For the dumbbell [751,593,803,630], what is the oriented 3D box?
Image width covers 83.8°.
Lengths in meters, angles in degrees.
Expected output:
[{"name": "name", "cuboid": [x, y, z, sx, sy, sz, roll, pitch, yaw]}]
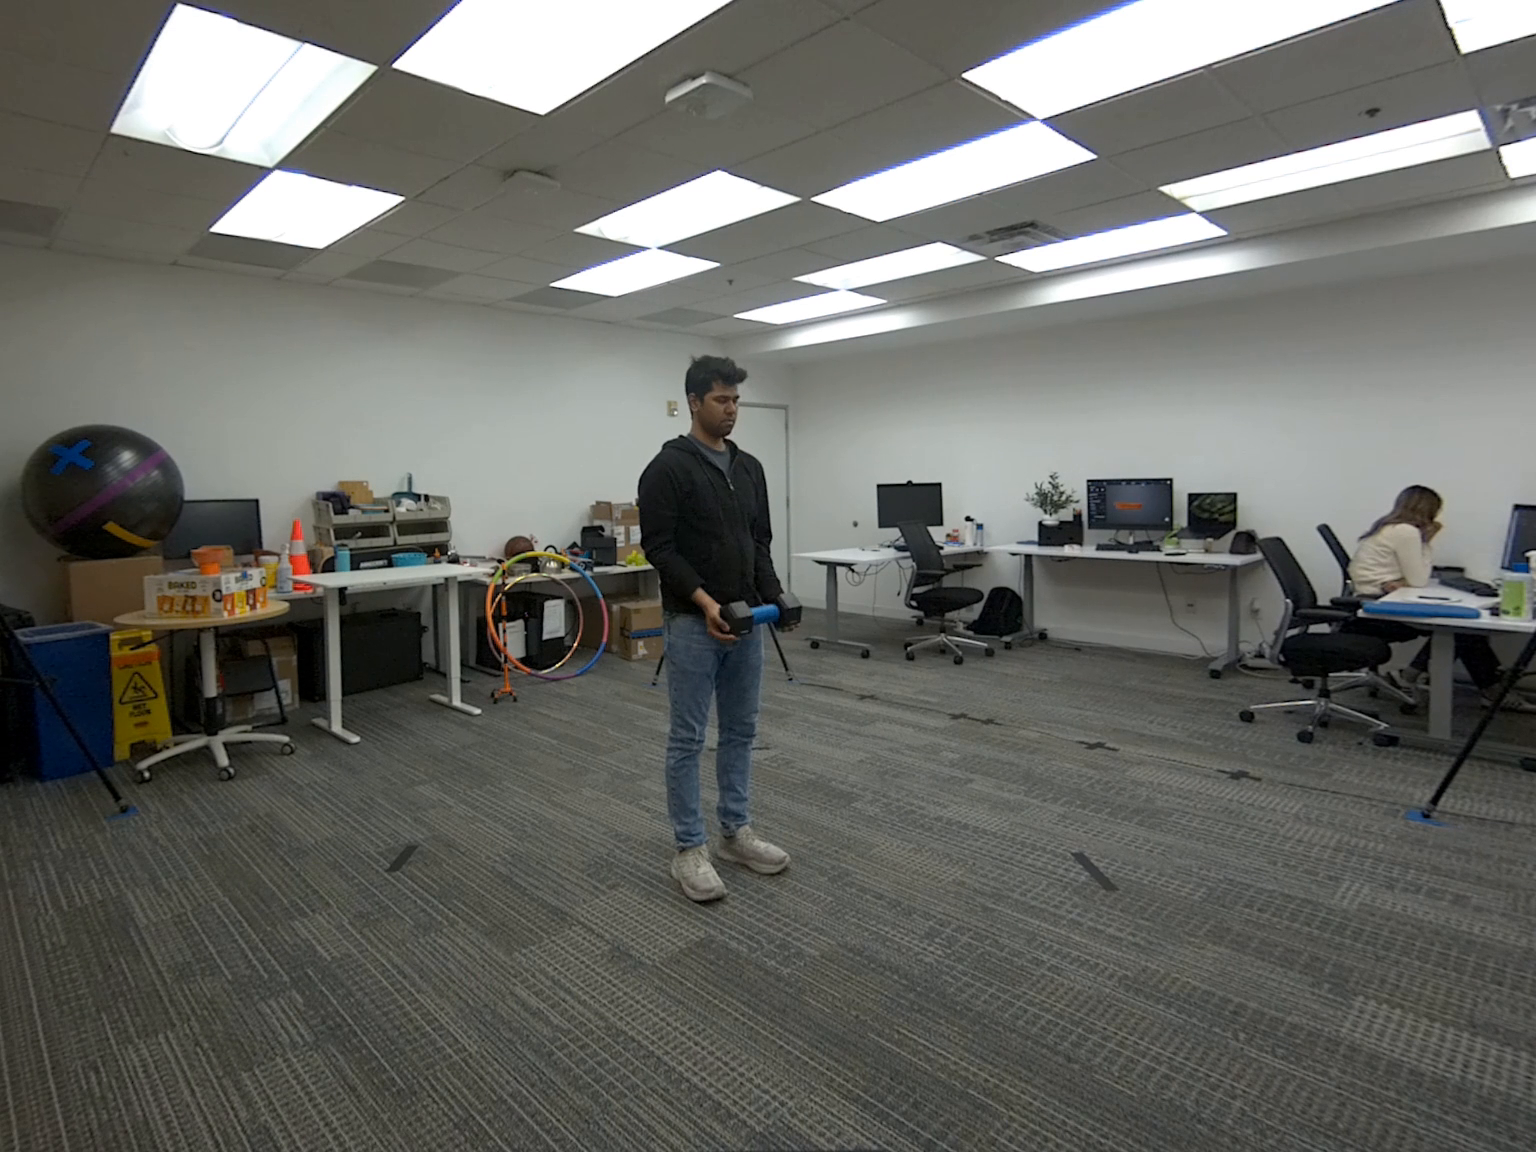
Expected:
[{"name": "dumbbell", "cuboid": [-0.029, 0.121, 2.838, 0.286, 0.121, 0.112, -9, 17, -36]}]
